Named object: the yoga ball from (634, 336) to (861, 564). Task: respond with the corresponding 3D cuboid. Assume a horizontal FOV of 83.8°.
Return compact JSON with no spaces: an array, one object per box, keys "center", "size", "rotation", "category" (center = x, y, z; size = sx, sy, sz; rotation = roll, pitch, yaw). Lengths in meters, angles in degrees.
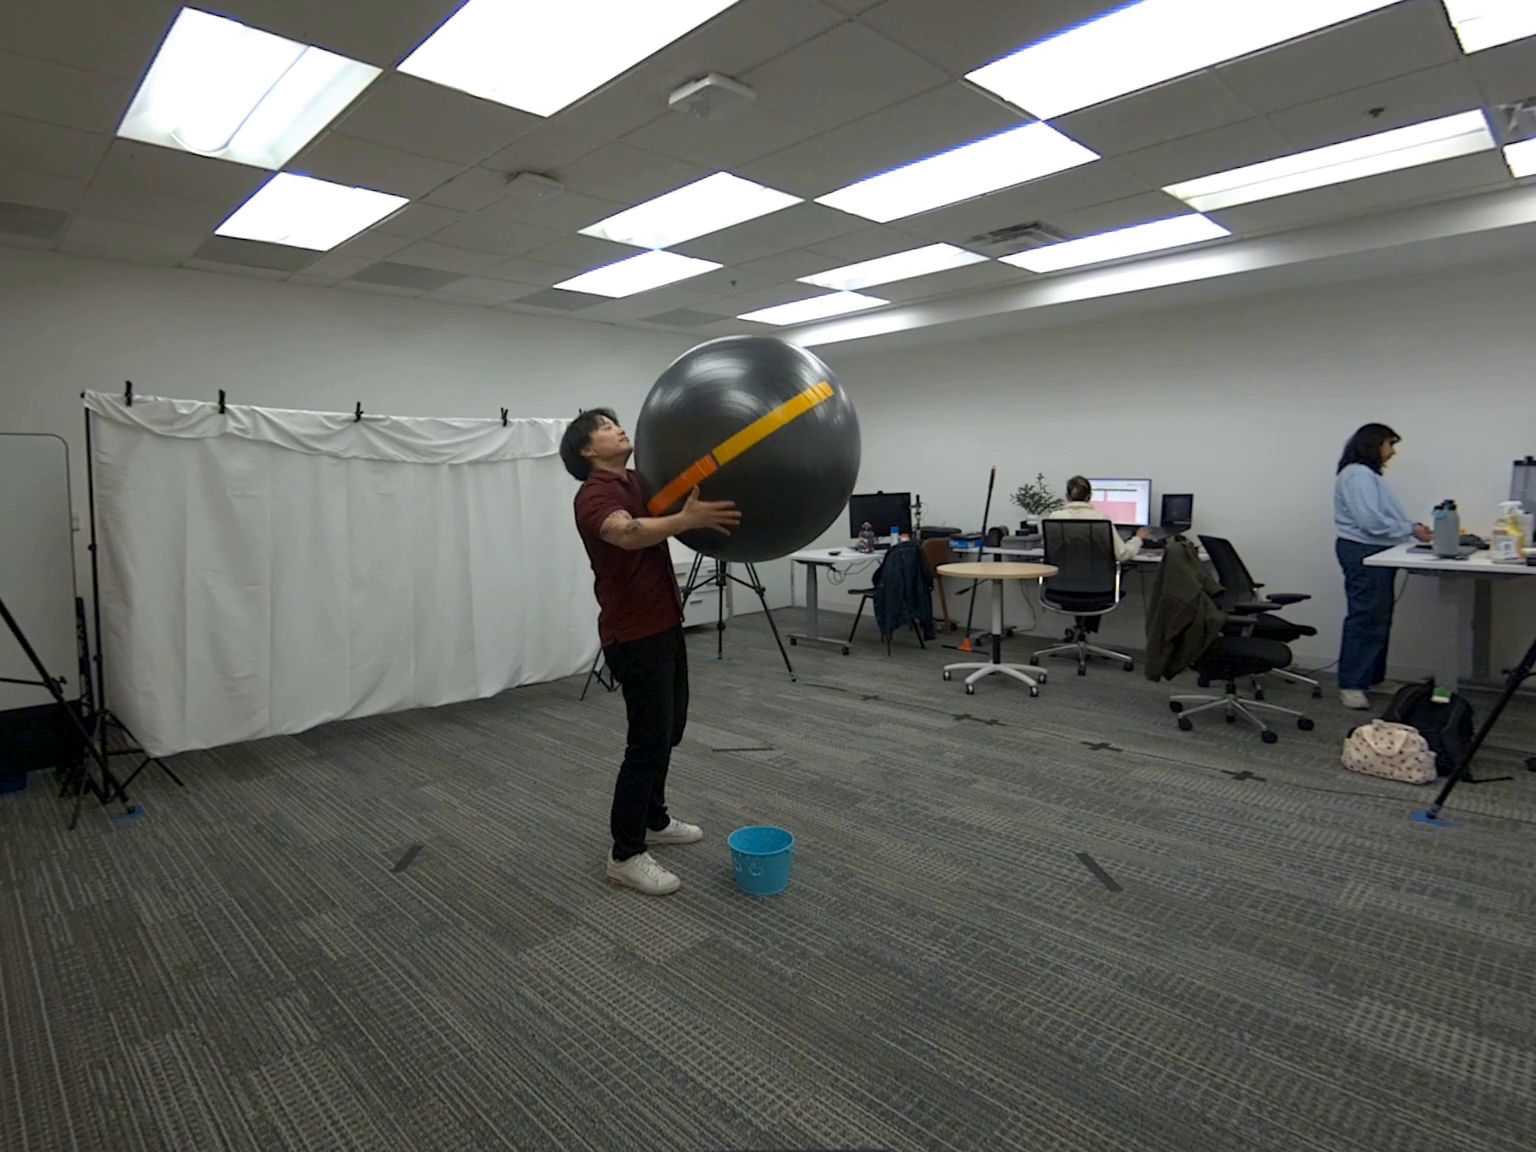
[{"center":[-0.073,-0.418,2.868],"size":[0.757,0.755,0.762],"rotation":[-1,5,-2],"category":"yoga ball"}]
